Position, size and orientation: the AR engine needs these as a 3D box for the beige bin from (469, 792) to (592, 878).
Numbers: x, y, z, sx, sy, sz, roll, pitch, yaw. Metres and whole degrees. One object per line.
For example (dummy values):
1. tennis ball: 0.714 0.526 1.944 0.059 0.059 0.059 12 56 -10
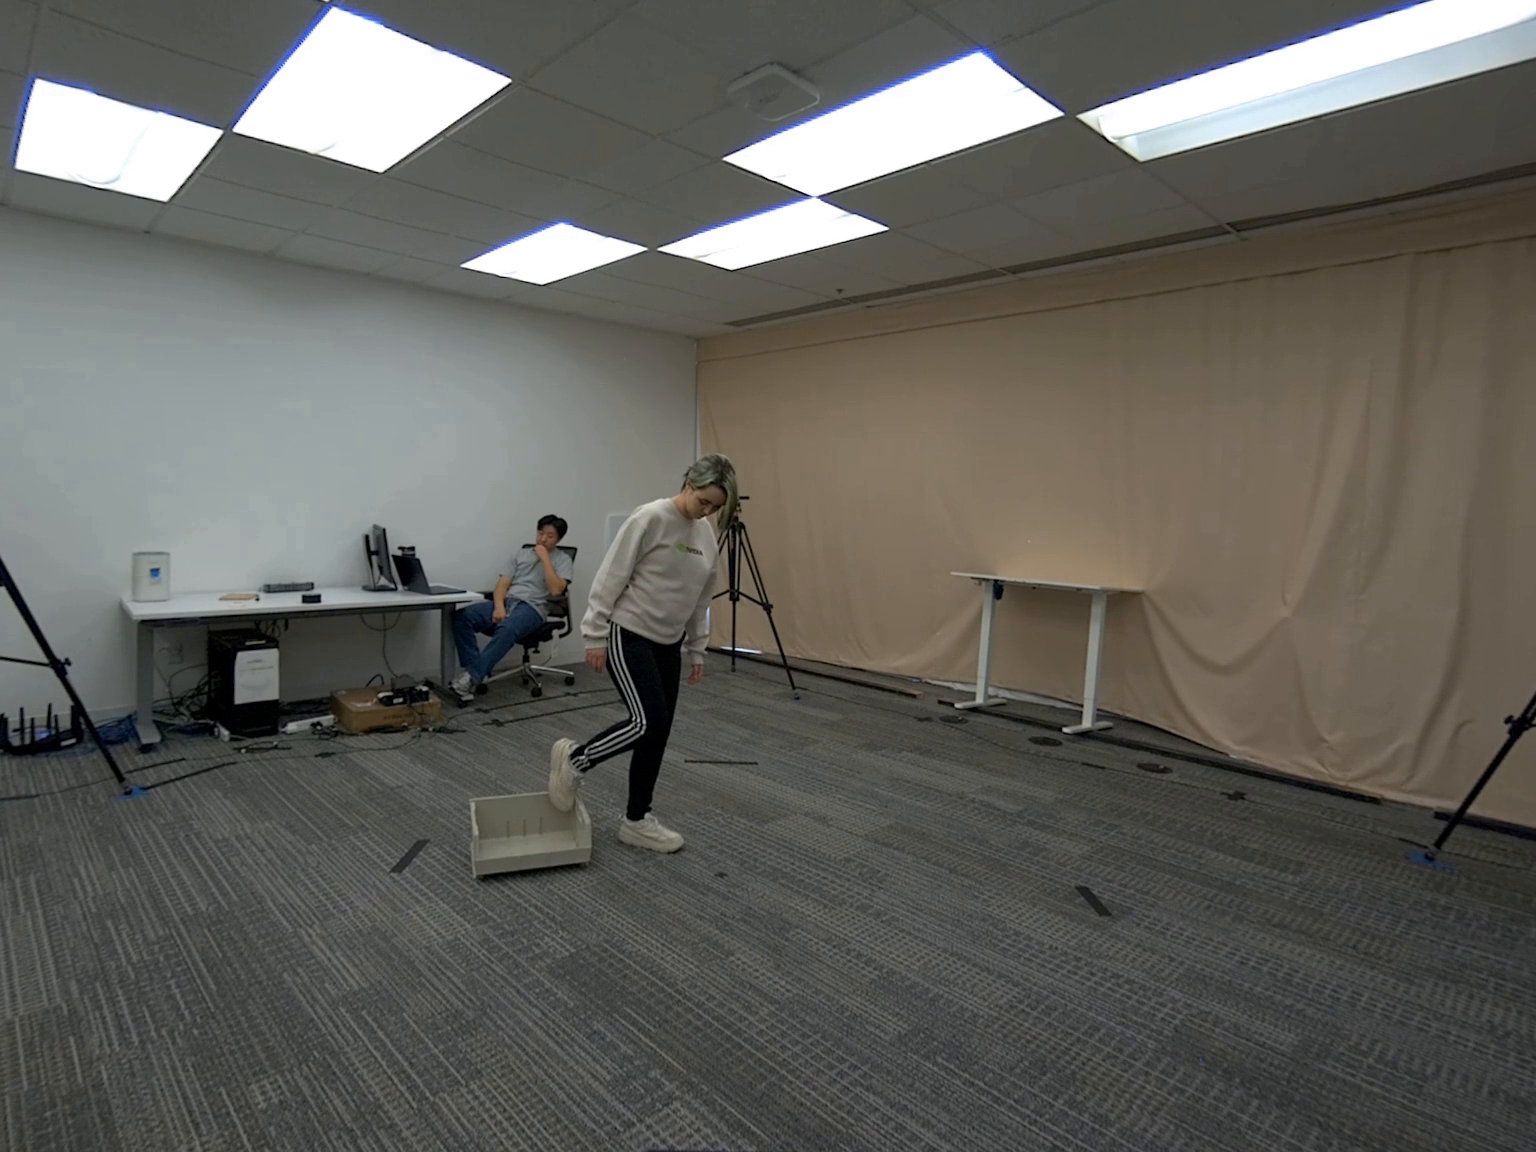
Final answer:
1. beige bin: -0.917 0.985 3.211 0.416 0.188 0.384 -2 5 -20
